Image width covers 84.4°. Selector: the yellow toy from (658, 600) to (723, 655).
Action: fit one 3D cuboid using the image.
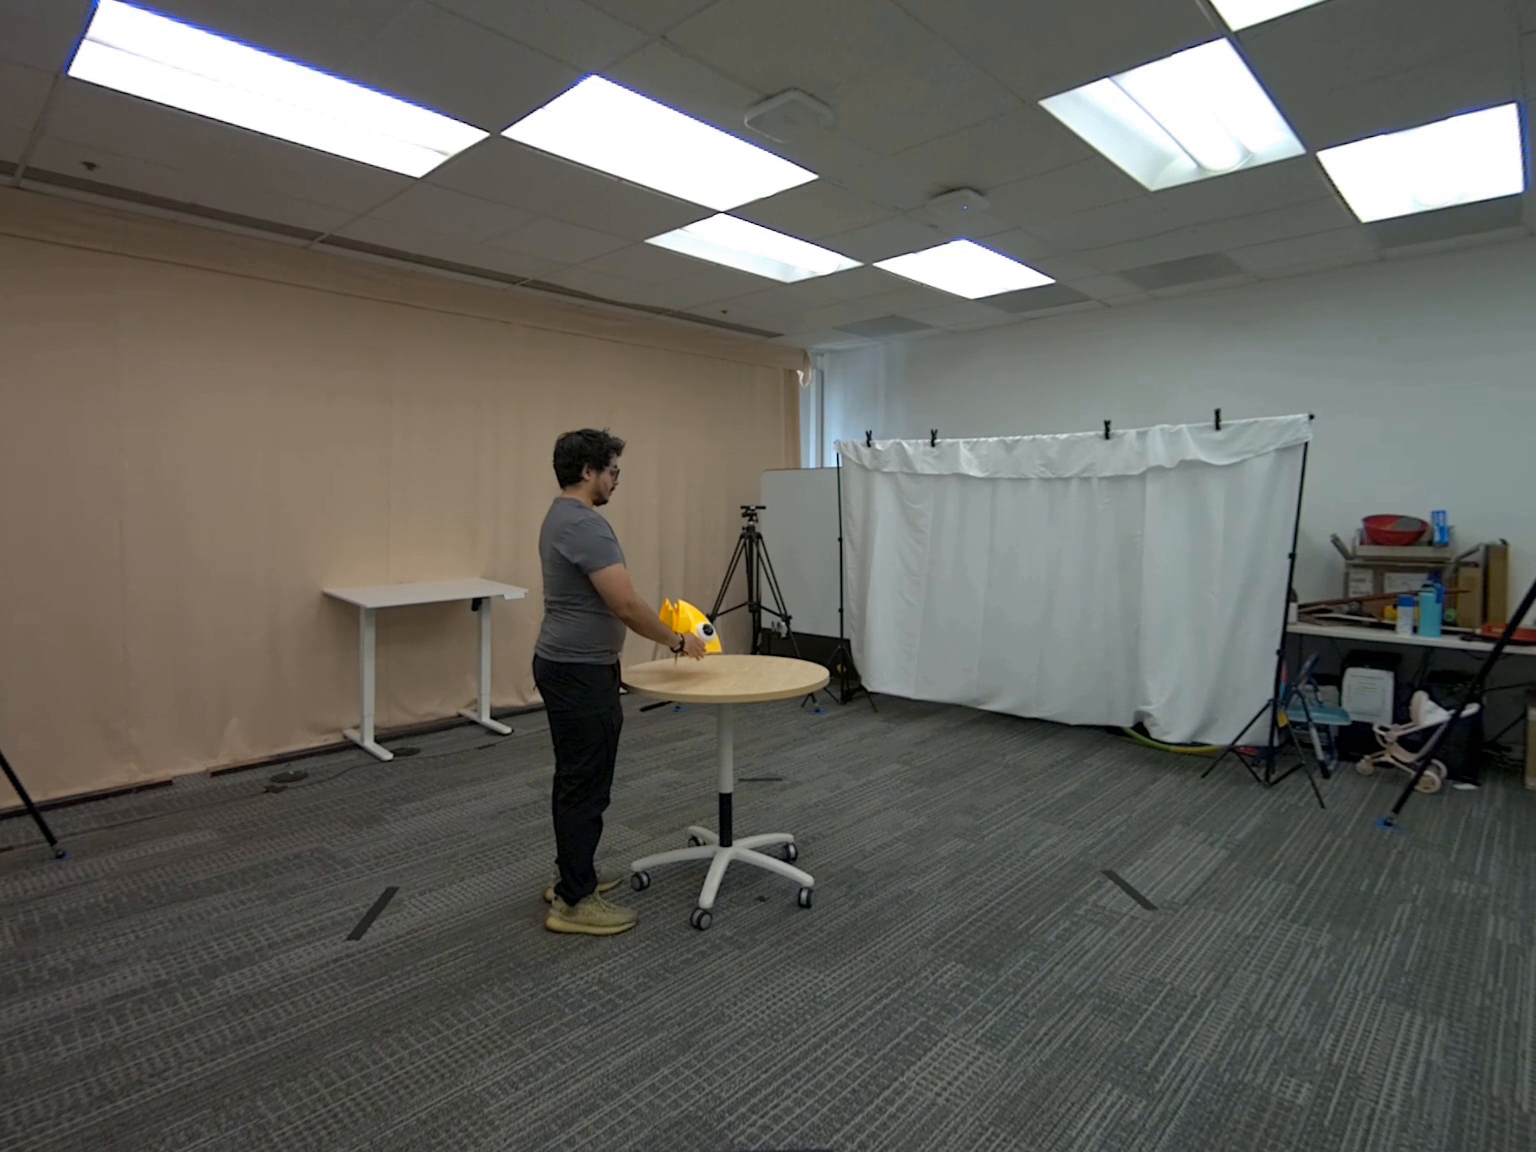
[{"bbox_3d":[-0.259,0.197,3.034,0.225,0.193,0.210,13,-3,-24],"label":"yellow toy"}]
